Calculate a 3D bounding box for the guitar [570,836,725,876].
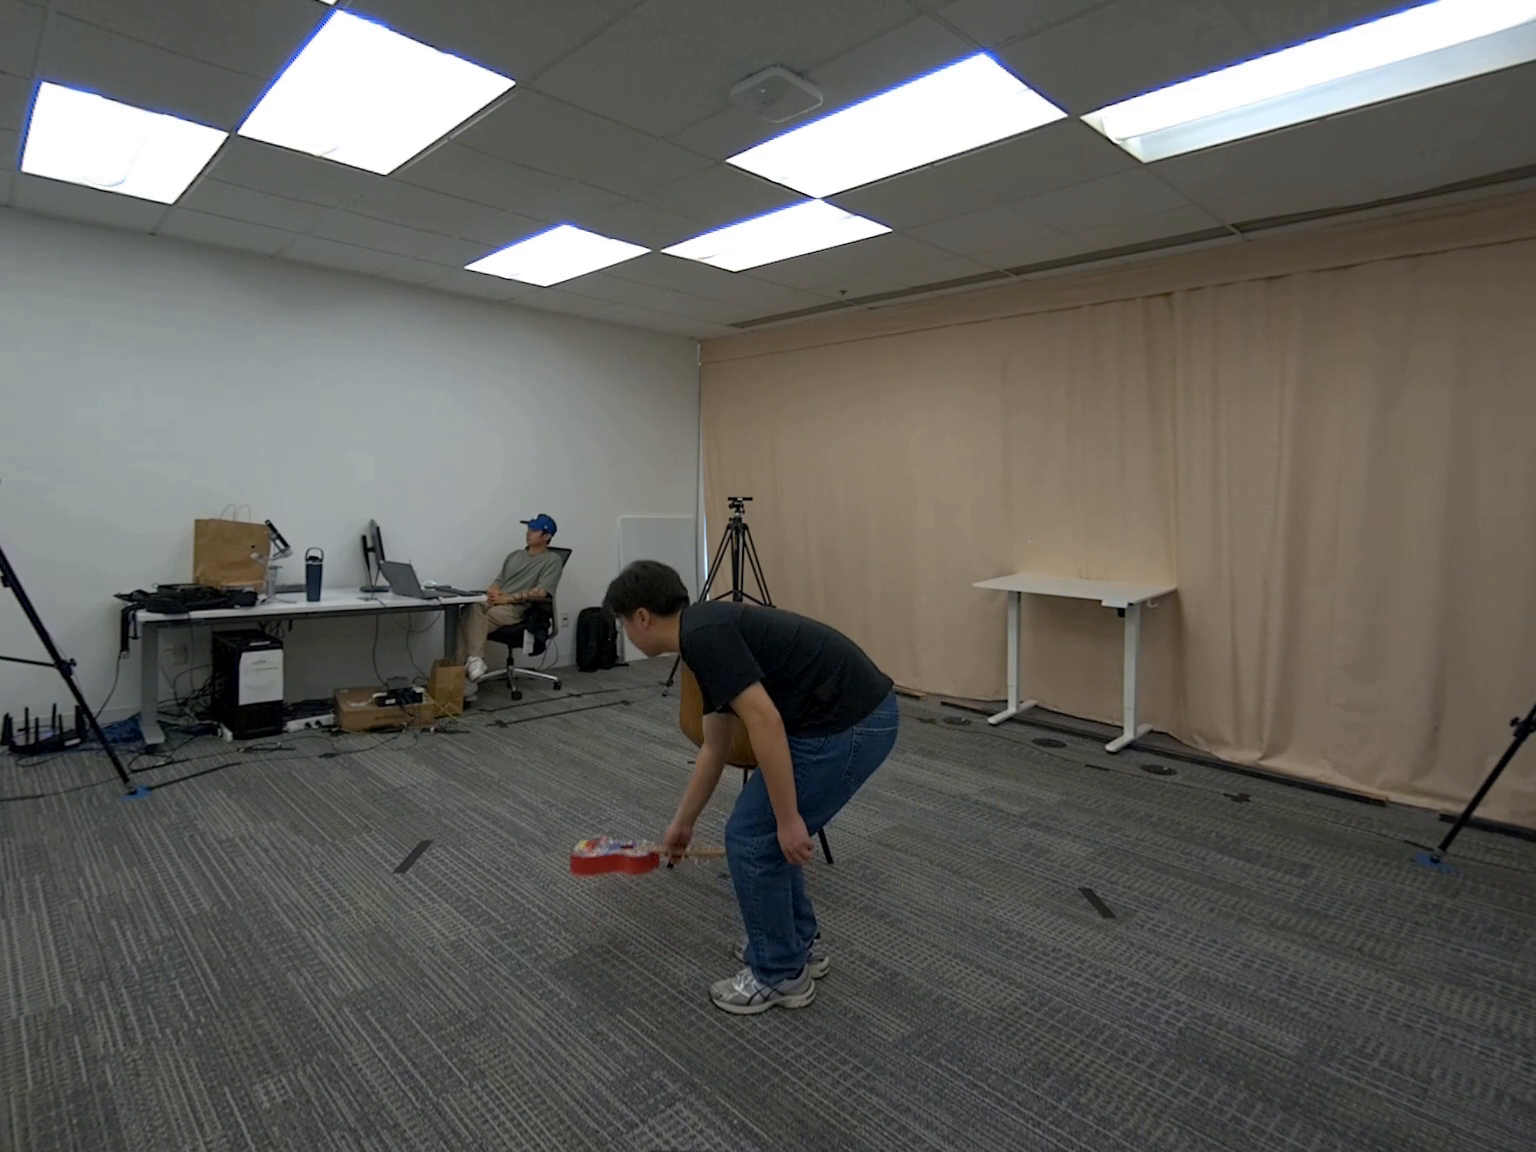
[{"bbox_3d":[-0.389,0.875,2.612,0.504,0.071,0.191,1,1,15],"label":"guitar"}]
